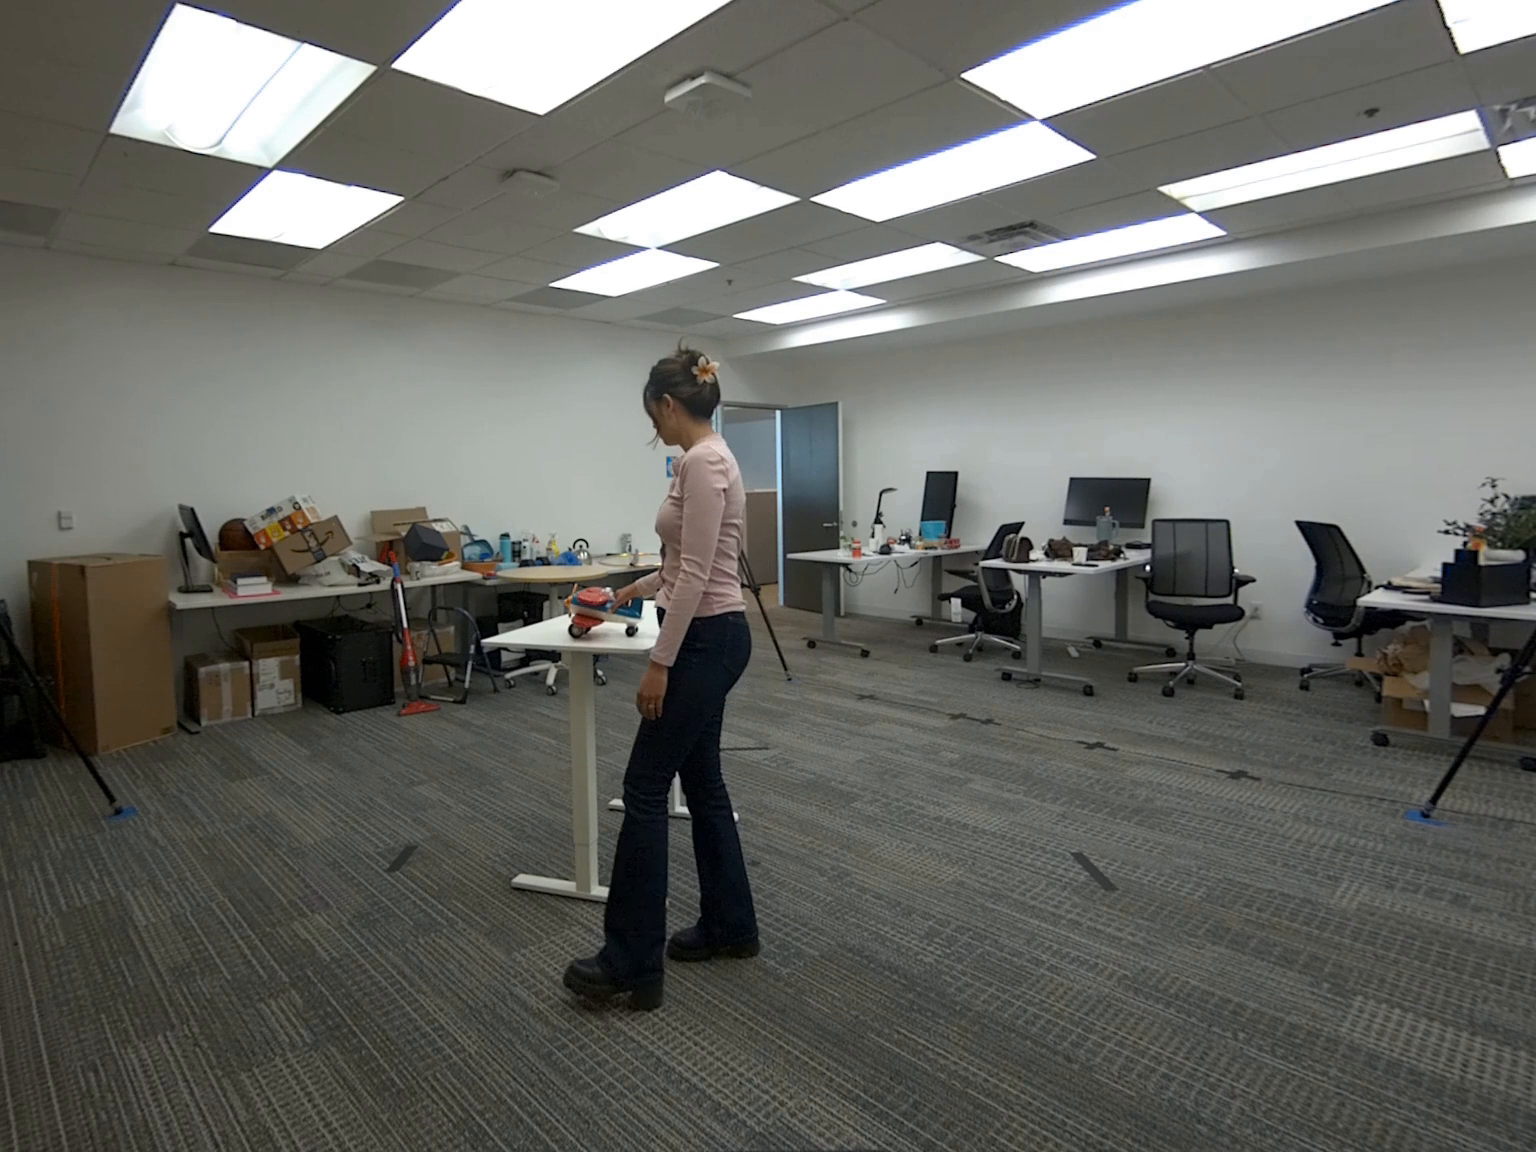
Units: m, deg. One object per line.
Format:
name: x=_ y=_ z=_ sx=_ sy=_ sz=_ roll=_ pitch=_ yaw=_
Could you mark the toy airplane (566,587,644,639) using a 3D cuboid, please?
toy airplane: x=-0.546 y=0.123 z=2.874 sx=0.254 sy=0.156 sz=0.257 roll=-3 pitch=6 yaw=-23
